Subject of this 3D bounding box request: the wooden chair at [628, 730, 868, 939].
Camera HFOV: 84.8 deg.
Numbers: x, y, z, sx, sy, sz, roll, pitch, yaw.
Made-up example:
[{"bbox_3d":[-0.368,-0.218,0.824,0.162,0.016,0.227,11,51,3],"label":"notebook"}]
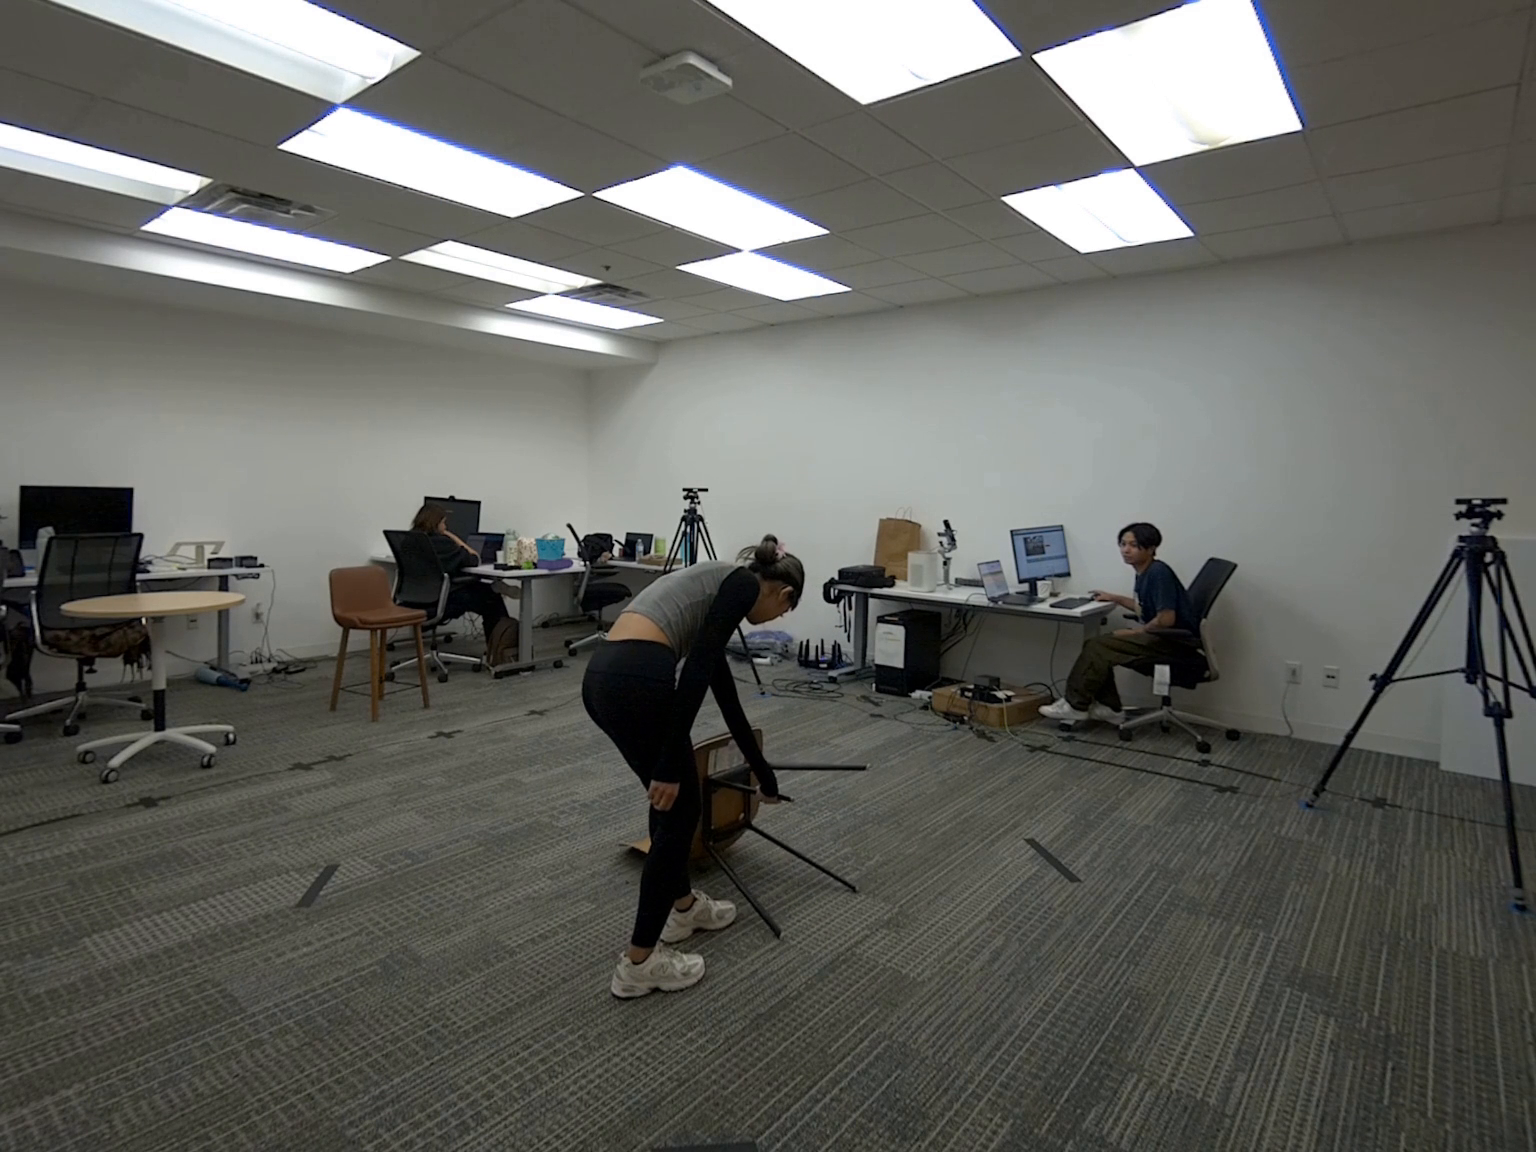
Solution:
[{"bbox_3d":[-0.149,0.820,3.053,0.906,0.522,0.464,3,5,40],"label":"wooden chair"}]
